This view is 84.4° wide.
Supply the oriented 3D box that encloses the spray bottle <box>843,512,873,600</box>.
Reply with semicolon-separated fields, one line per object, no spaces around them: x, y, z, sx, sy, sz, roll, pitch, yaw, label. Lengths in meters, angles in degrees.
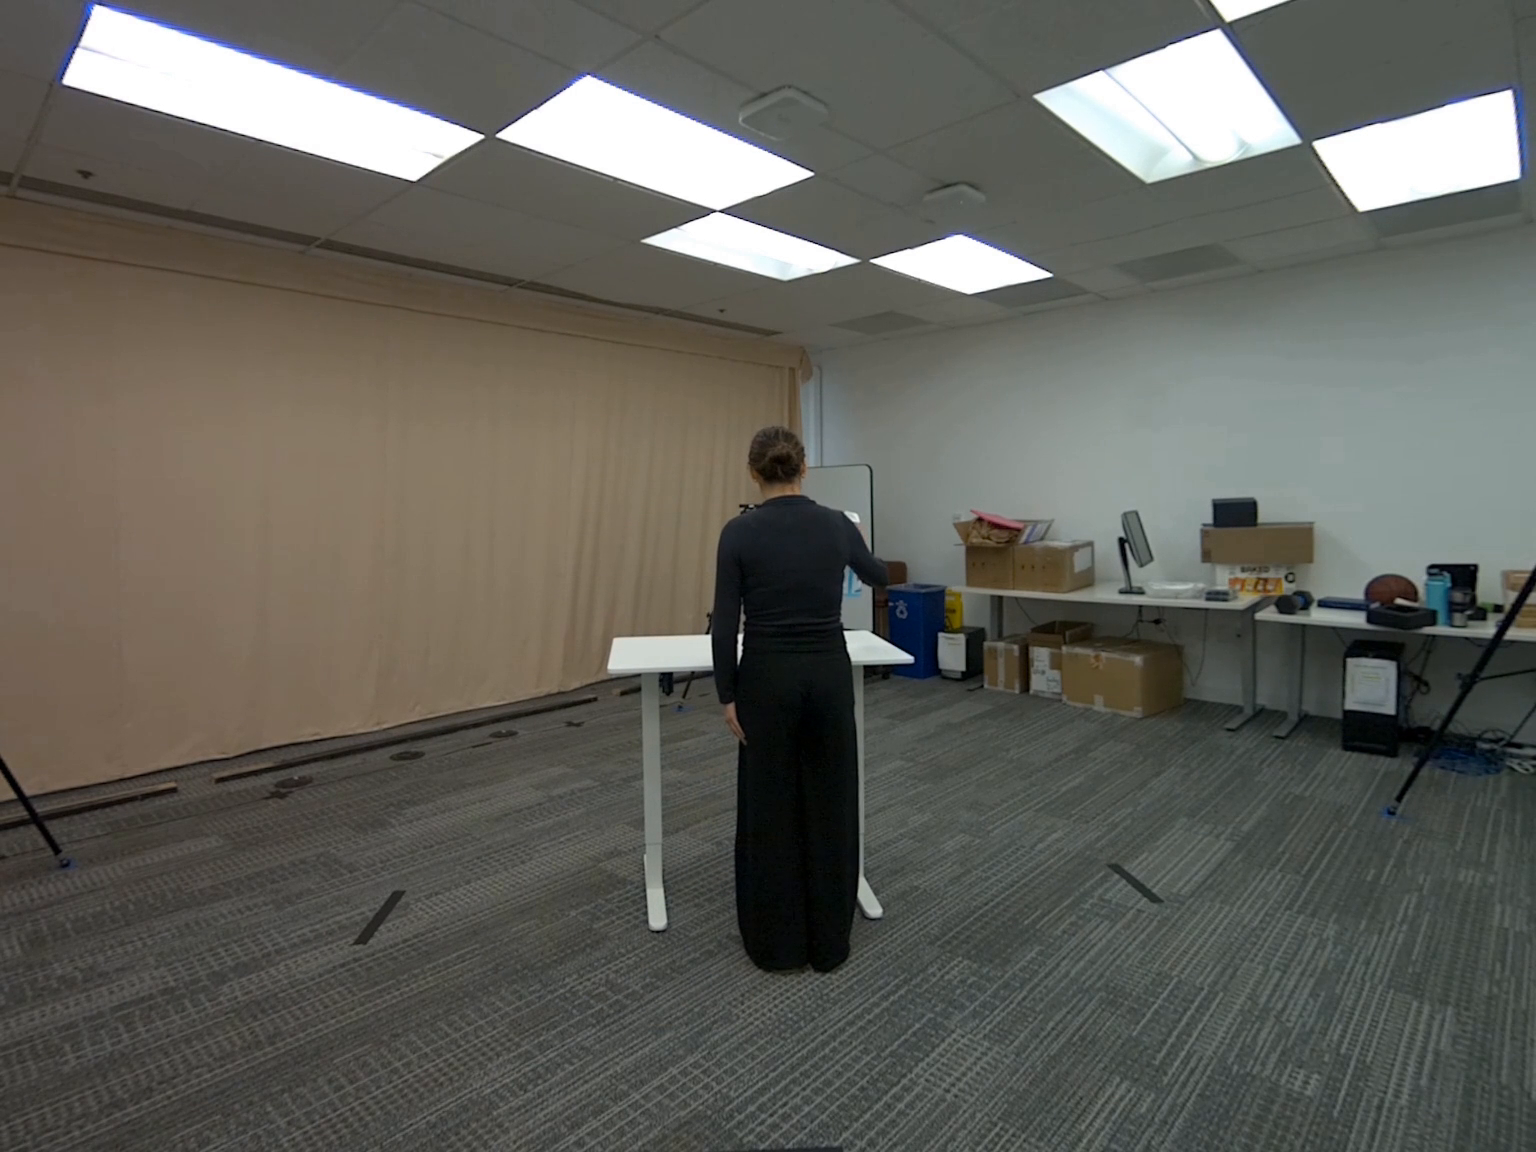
0.312;-0.074;2.976;0.087;0.296;0.090;1;6;4;spray bottle
